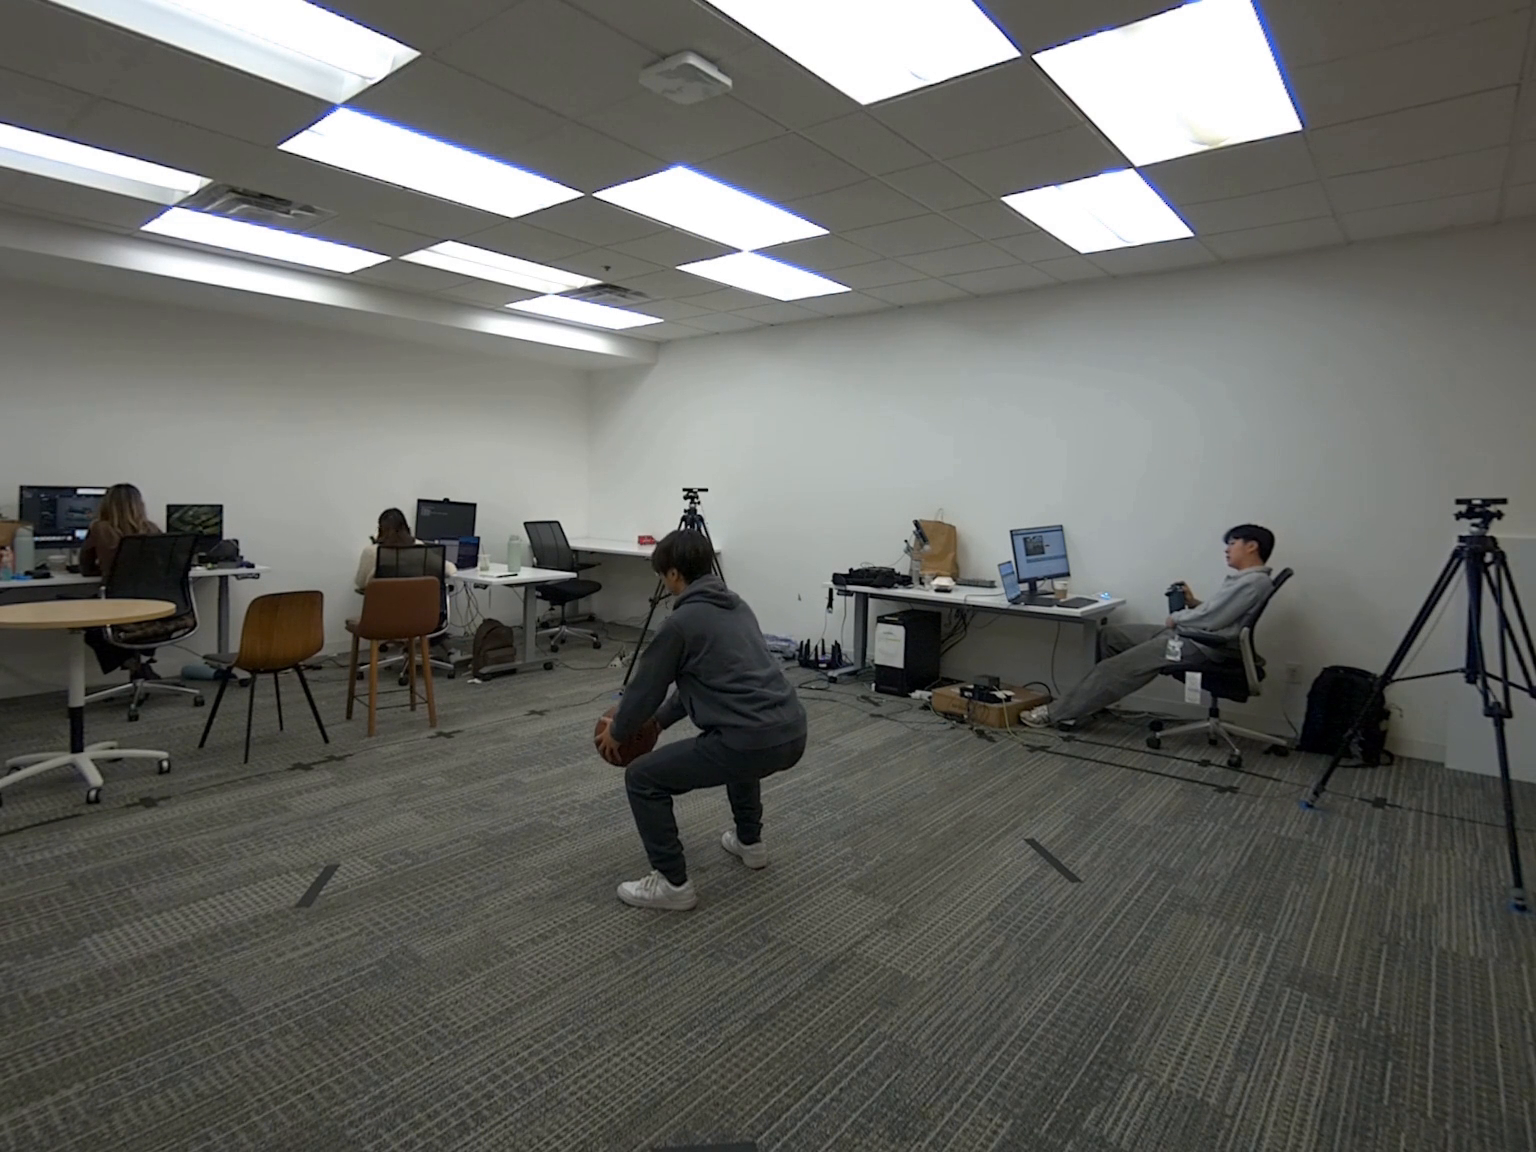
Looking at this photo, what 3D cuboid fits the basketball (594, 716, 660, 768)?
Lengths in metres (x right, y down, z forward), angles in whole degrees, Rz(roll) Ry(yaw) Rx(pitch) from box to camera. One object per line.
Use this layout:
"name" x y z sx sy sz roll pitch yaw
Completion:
"basketball" -0.562 0.611 3.299 0.235 0.235 0.237 1 4 -2
